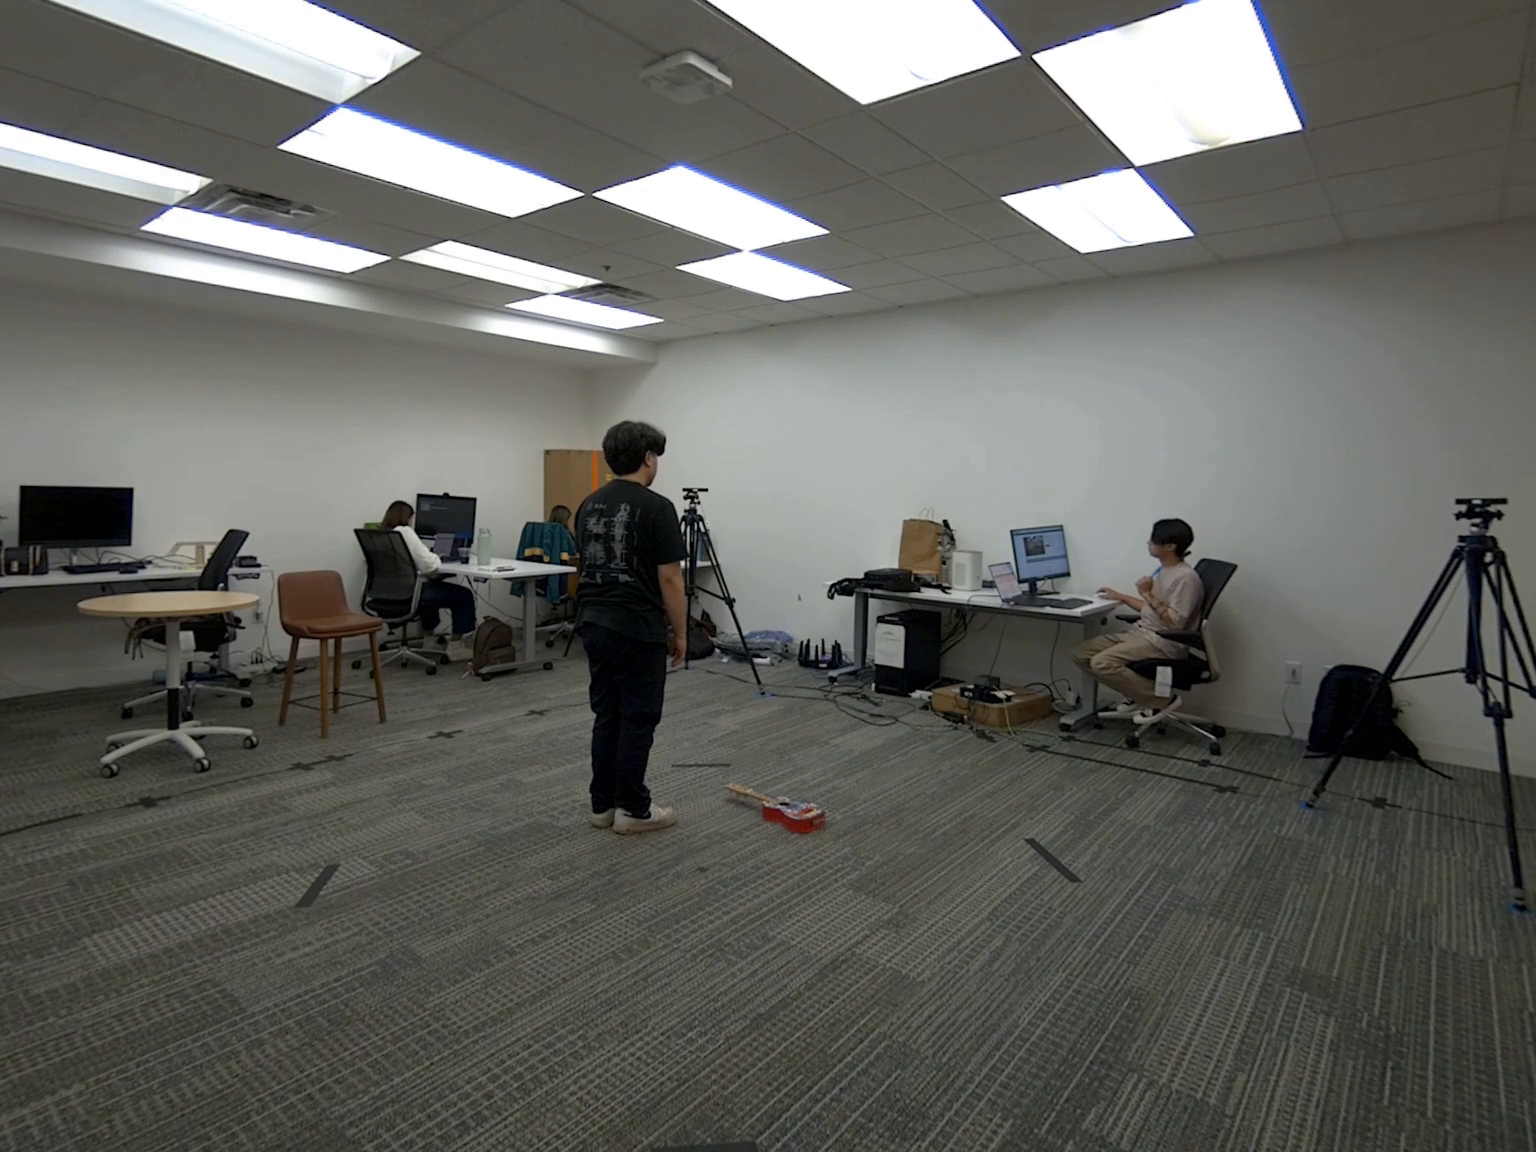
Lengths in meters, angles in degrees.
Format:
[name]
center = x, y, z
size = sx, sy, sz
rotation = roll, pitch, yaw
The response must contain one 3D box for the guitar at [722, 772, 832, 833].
[guitar]
center = 0.028, 0.980, 3.676
size = 0.187, 0.070, 0.515
rotation = -3, 7, -40
